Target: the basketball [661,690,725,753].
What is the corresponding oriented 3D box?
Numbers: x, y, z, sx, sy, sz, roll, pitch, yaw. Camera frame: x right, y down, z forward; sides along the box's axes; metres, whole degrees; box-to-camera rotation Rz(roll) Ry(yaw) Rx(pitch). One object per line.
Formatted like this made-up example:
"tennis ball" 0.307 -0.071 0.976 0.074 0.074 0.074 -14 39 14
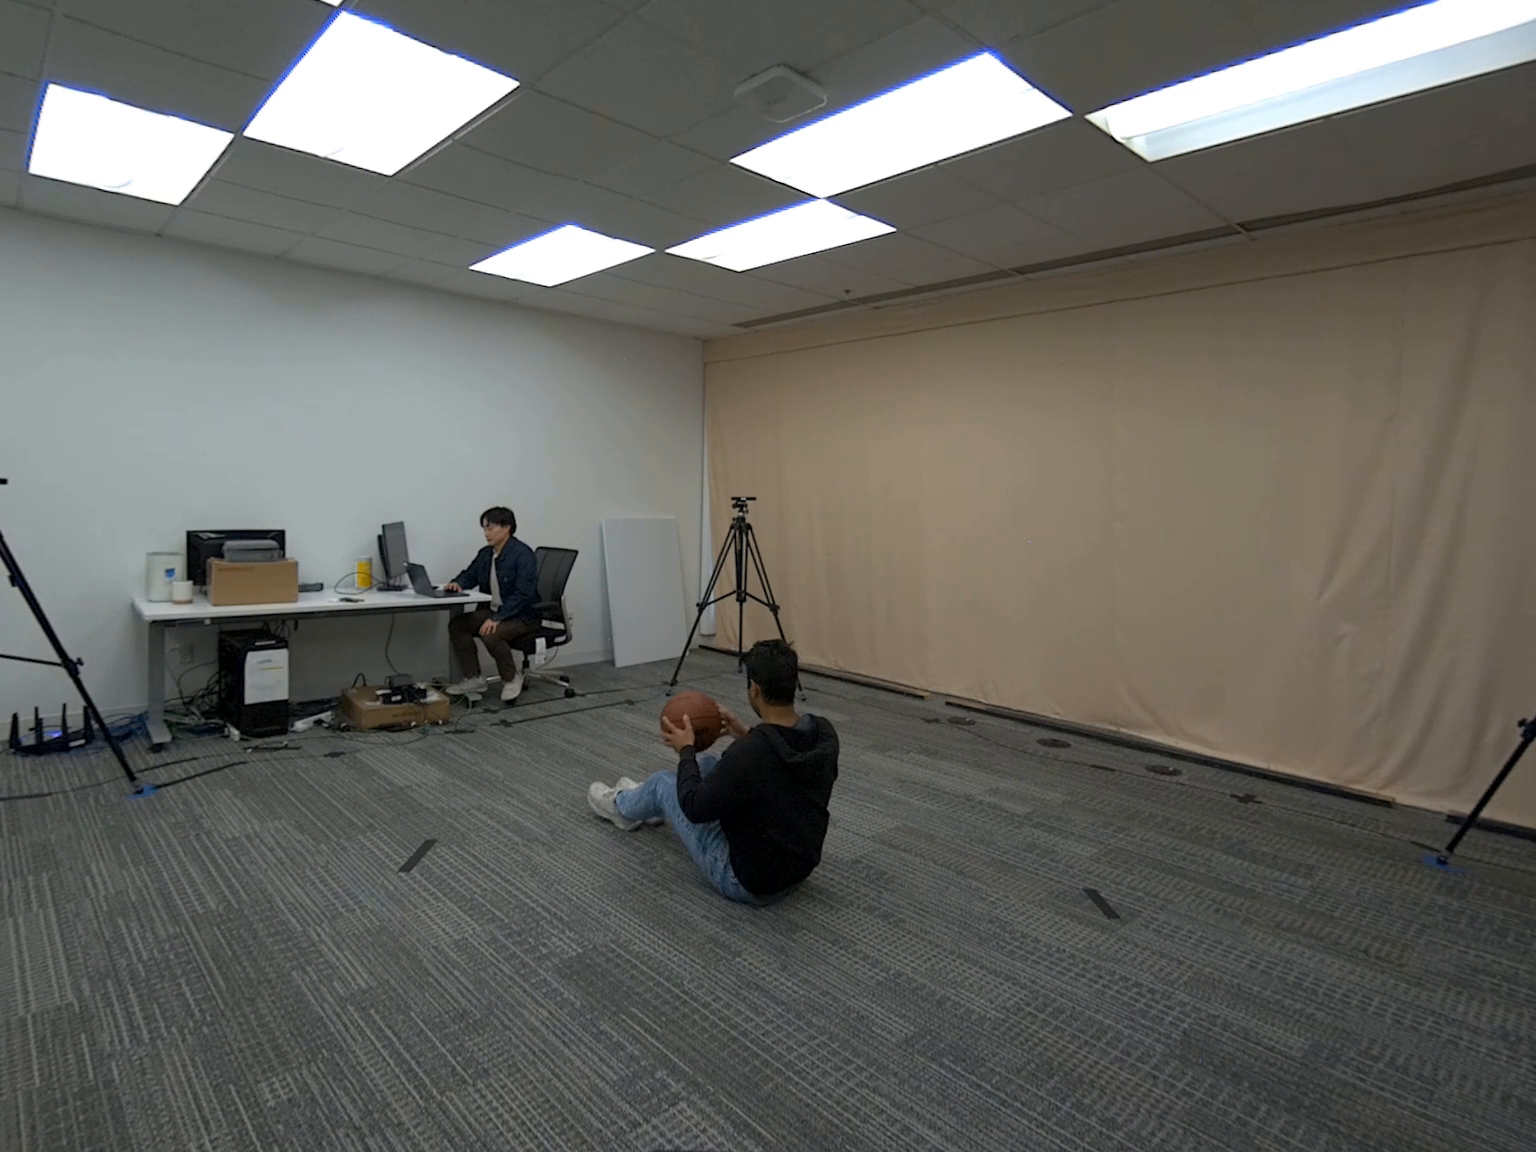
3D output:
"basketball" -0.296 0.595 3.193 0.236 0.235 0.237 1 4 -1
